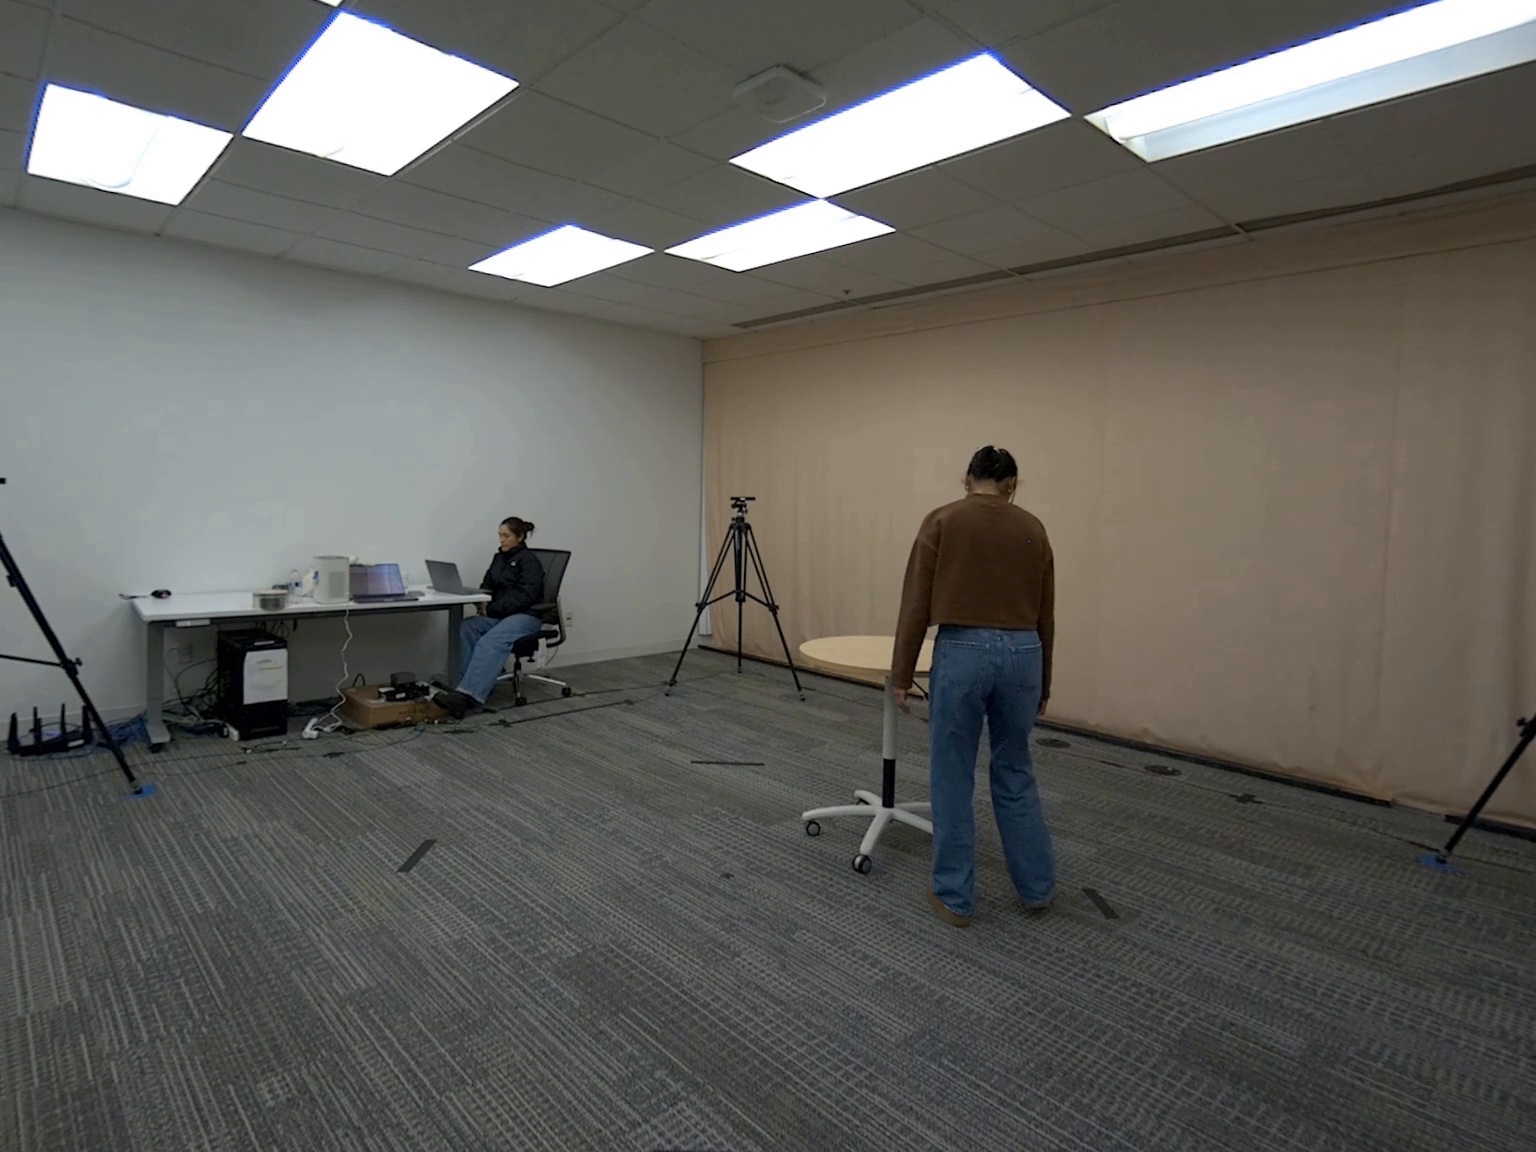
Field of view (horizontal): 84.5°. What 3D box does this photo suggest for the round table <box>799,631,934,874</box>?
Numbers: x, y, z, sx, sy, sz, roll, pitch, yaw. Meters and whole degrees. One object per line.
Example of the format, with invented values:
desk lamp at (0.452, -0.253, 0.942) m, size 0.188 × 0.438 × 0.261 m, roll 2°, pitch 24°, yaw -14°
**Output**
round table at (0.495, 0.701, 3.454) m, size 0.763 × 0.792 × 0.766 m, roll 1°, pitch 4°, yaw -1°
